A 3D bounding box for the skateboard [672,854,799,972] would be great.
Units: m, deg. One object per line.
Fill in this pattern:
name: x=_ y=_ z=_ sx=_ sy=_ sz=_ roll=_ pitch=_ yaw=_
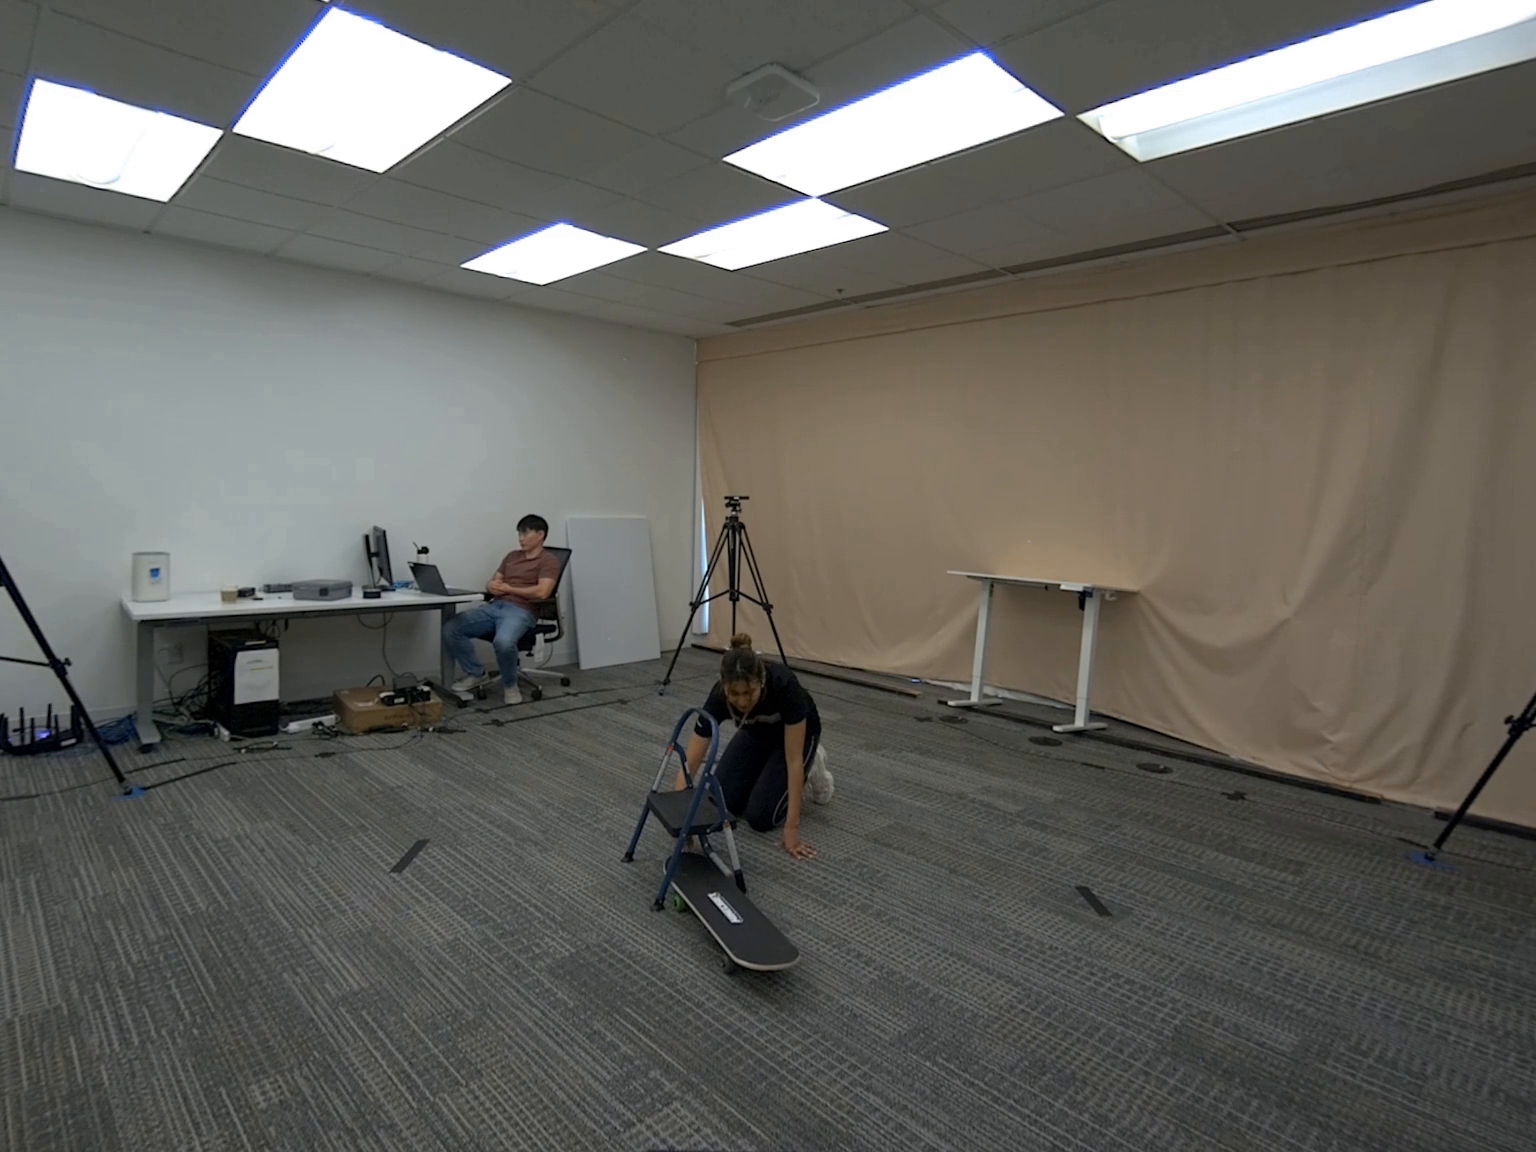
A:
skateboard: x=-0.164 y=1.089 z=2.683 sx=0.190 sy=0.110 sz=0.801 roll=-3 pitch=7 yaw=-22
